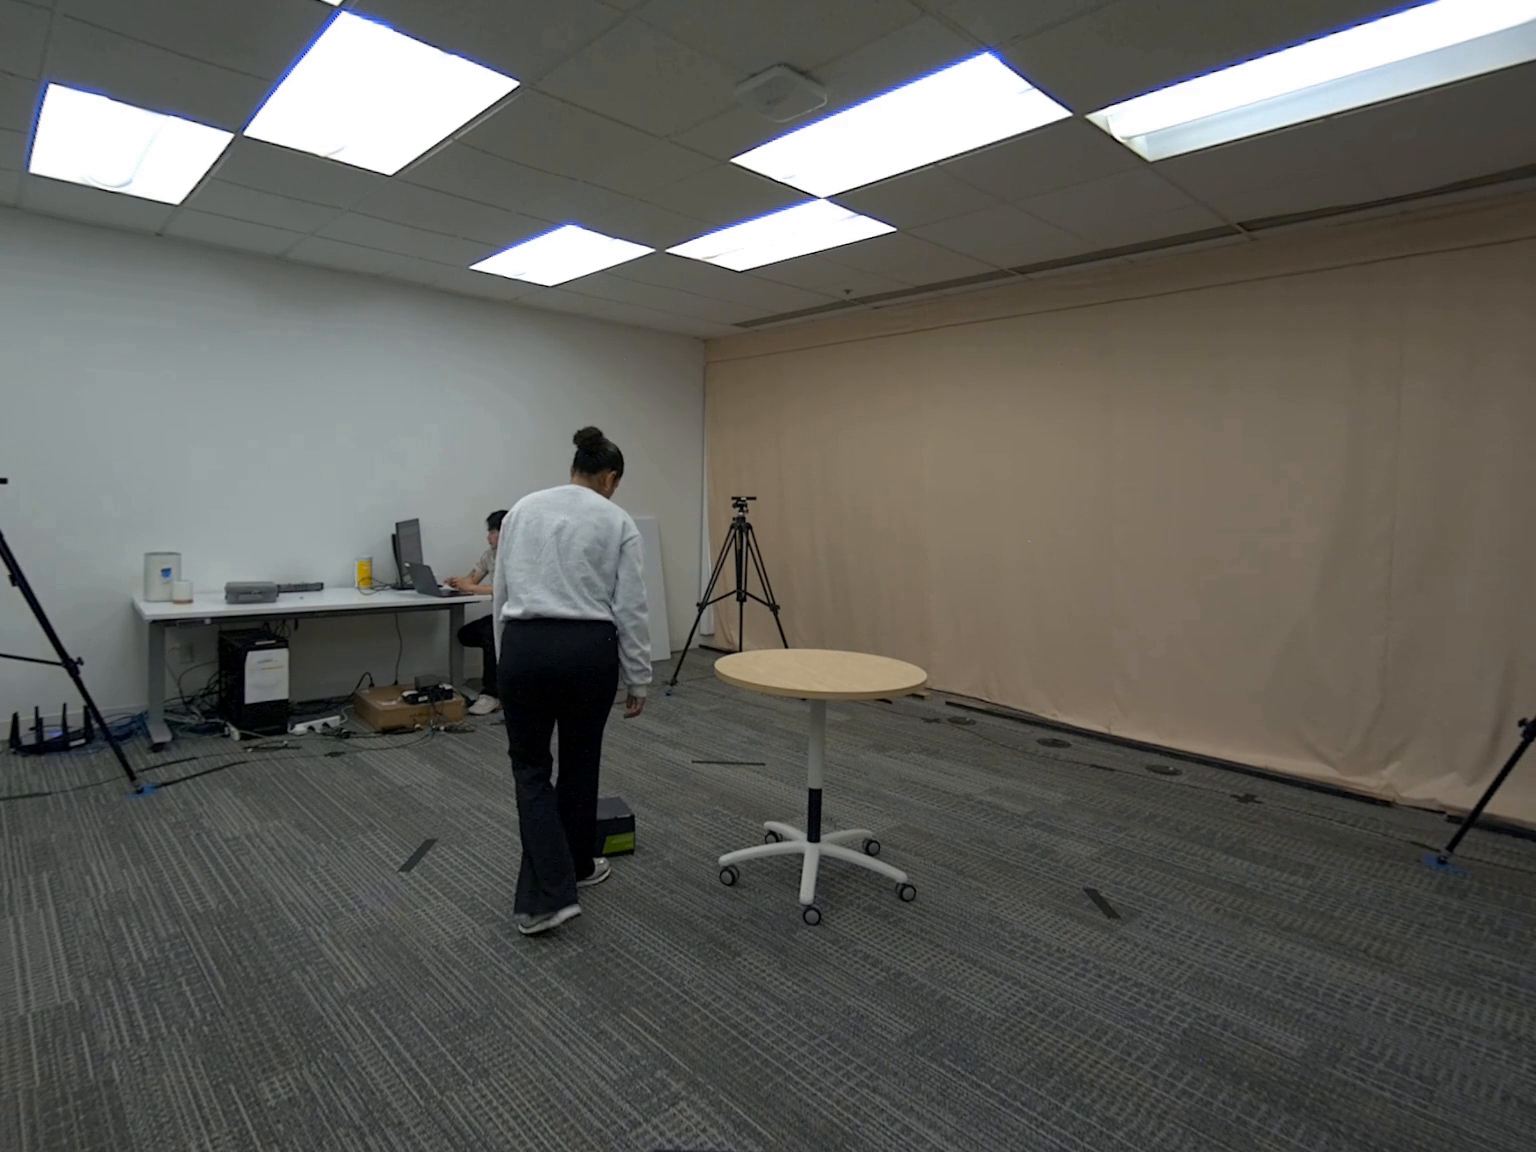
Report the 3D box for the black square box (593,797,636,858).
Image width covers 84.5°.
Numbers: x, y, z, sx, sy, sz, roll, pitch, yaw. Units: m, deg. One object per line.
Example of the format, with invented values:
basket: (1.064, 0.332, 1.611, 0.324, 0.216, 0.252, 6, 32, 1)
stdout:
black square box: (-0.669, 0.993, 3.319, 0.224, 0.155, 0.221, 0, 5, -25)
